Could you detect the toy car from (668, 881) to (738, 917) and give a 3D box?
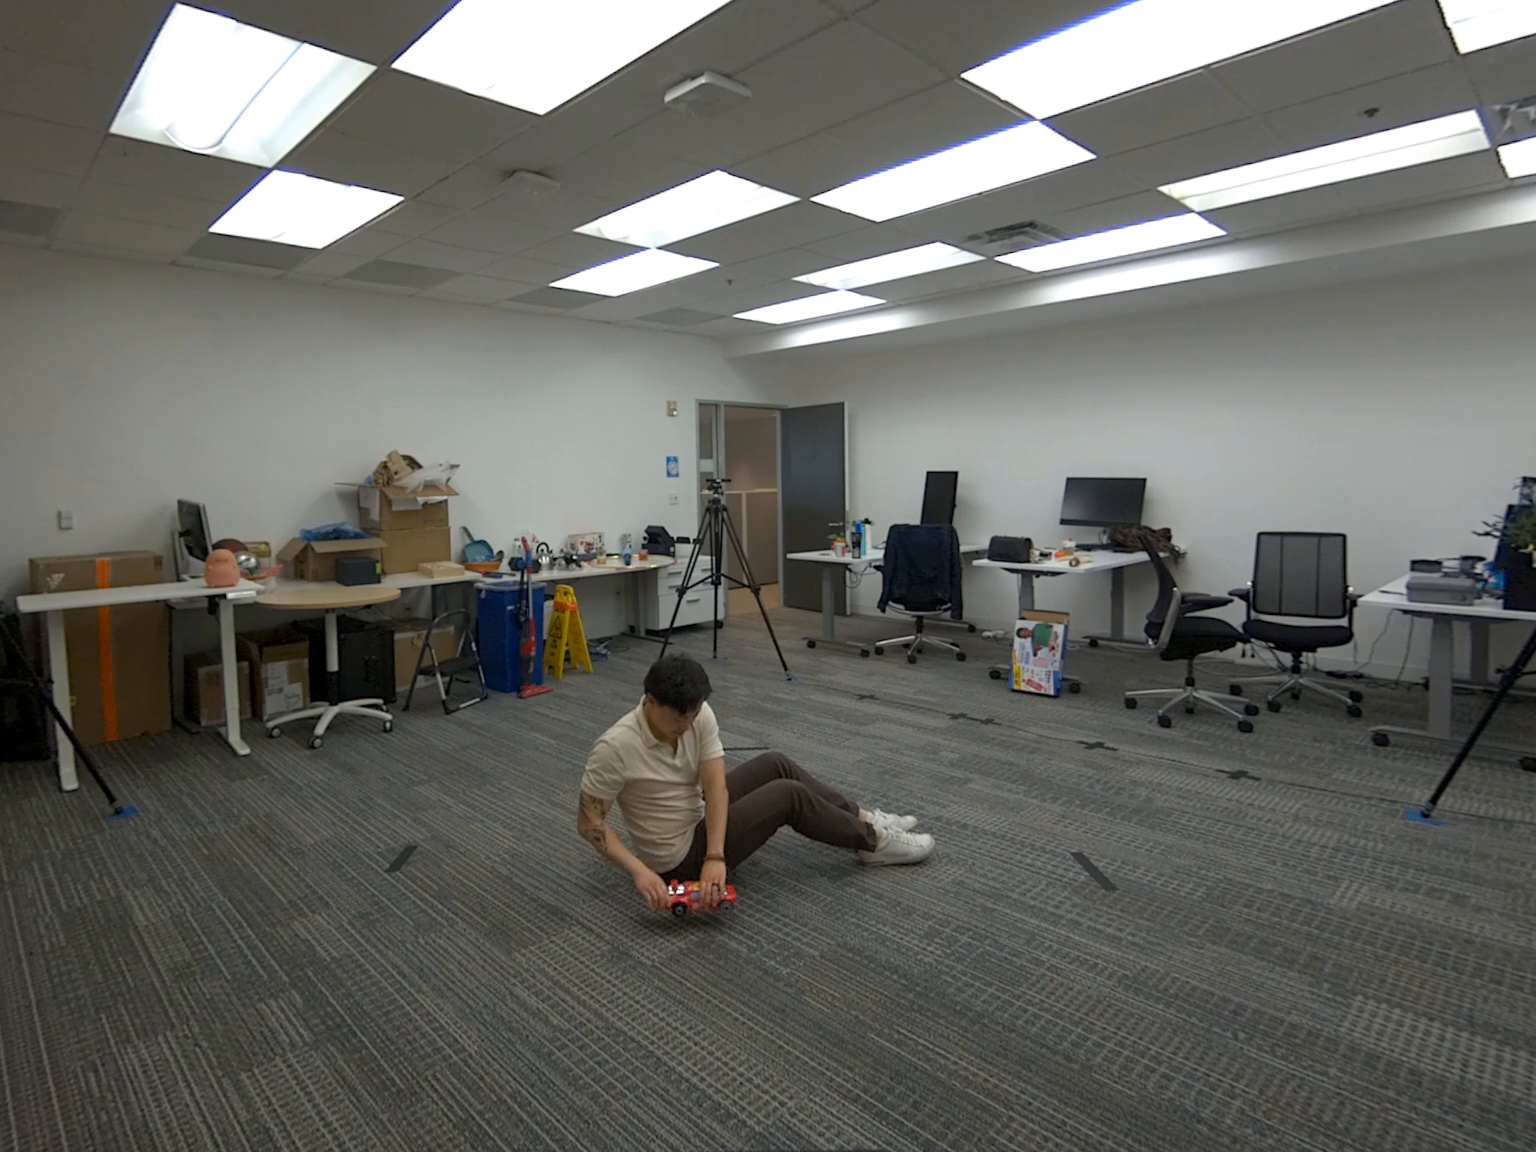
[{"bbox_3d":[-0.231,1.009,2.687,0.253,0.083,0.131,8,3,-5],"label":"toy car"}]
